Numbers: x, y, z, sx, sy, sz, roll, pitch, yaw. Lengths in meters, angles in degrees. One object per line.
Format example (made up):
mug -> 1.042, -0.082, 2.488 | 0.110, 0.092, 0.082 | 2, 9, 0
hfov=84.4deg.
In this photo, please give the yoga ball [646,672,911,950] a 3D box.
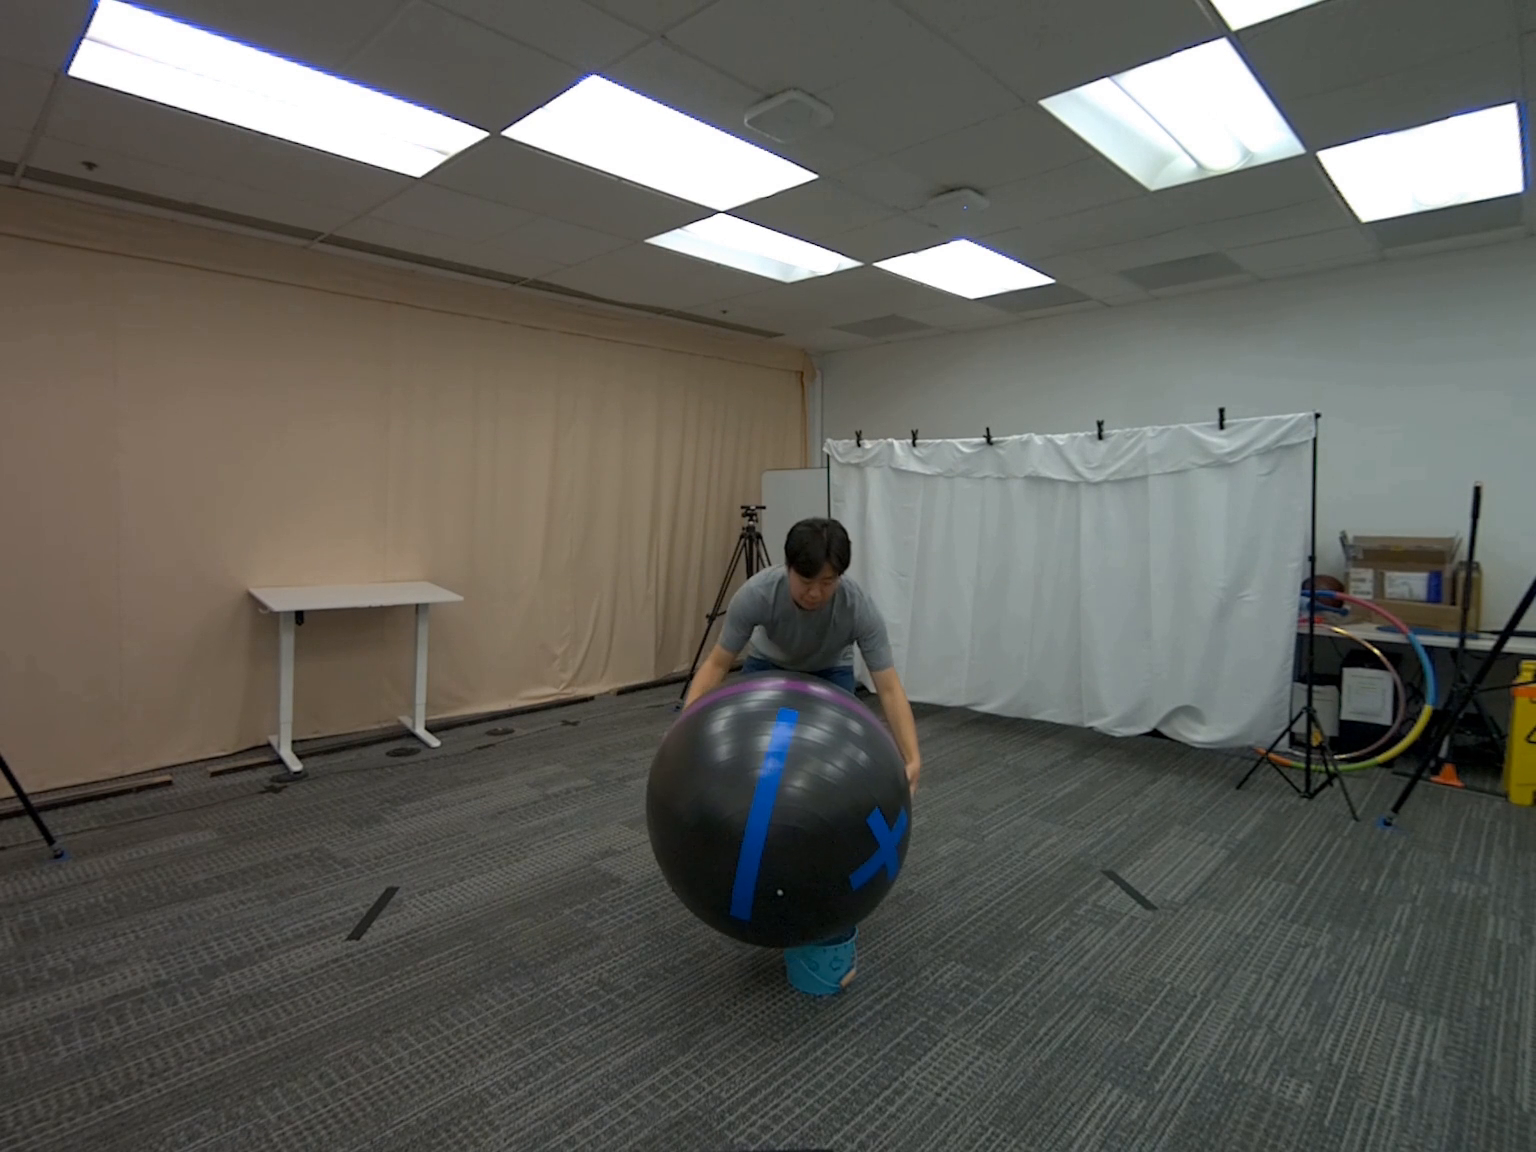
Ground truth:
yoga ball -> 0.018, 0.639, 2.438 | 0.757, 0.756, 0.761 | 0, 4, -2
